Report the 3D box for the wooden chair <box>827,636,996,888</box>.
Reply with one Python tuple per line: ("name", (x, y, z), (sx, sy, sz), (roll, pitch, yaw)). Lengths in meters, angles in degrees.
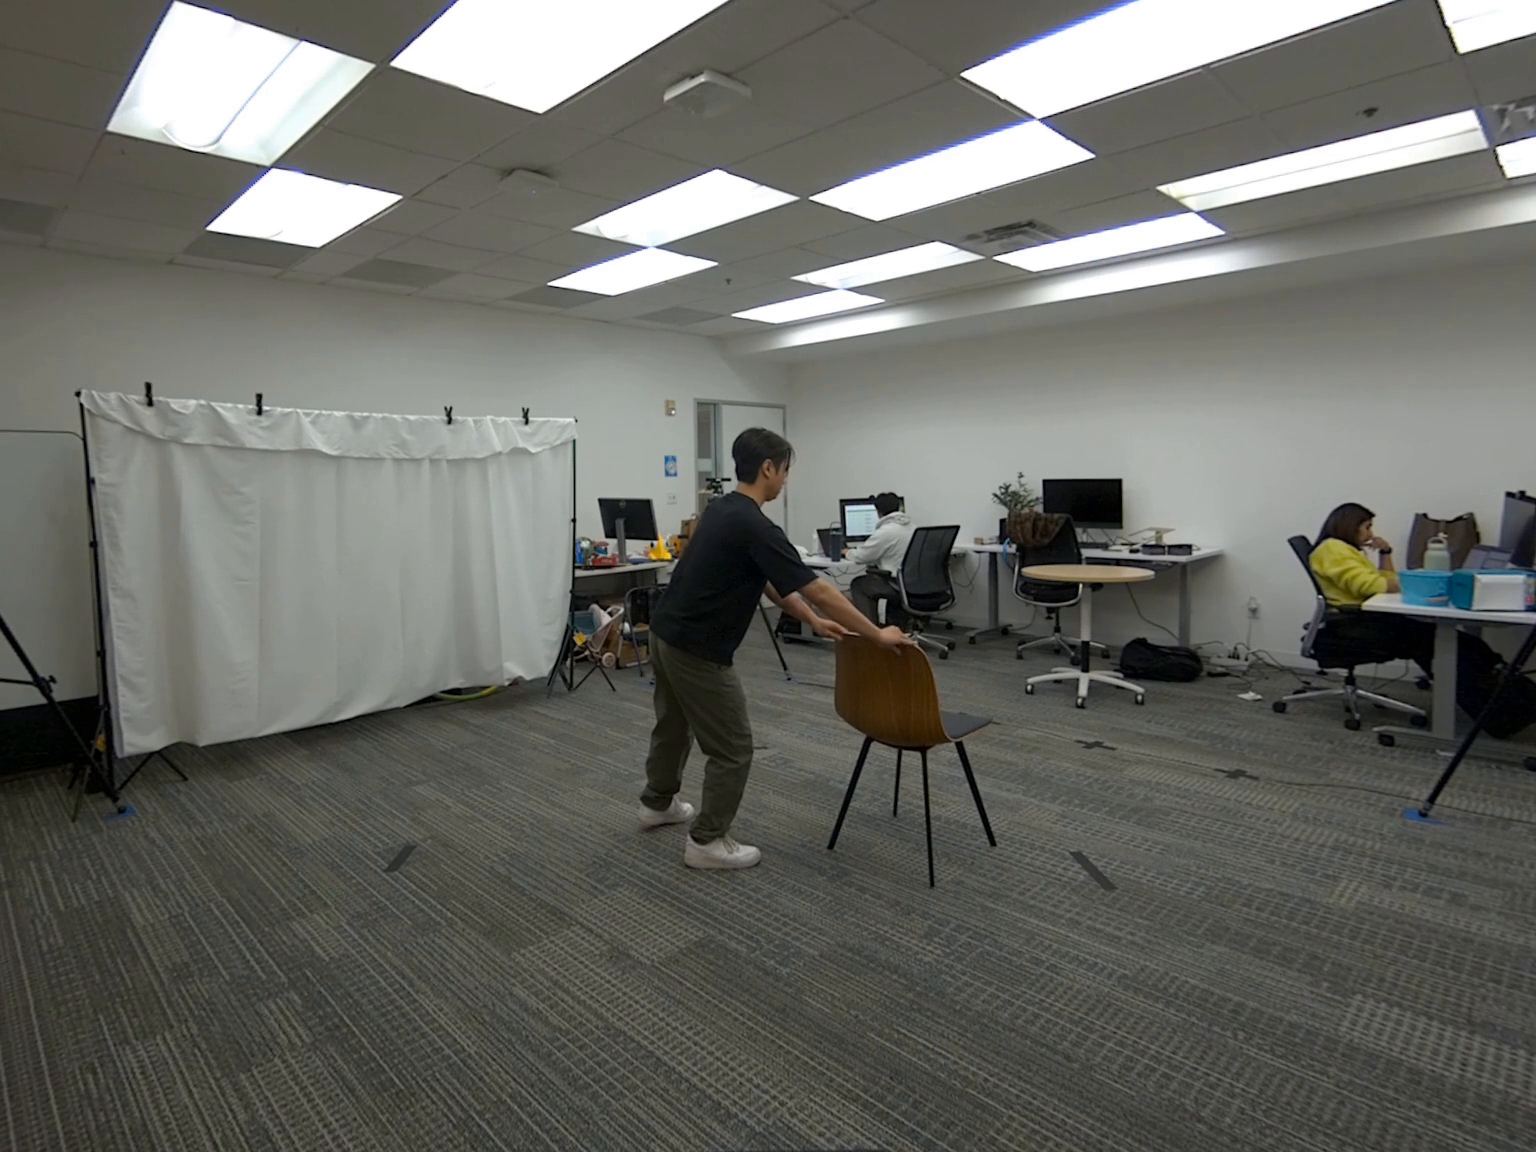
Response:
("wooden chair", (0.536, 0.592, 3.180), (0.492, 0.871, 0.511), (3, 10, 43))
